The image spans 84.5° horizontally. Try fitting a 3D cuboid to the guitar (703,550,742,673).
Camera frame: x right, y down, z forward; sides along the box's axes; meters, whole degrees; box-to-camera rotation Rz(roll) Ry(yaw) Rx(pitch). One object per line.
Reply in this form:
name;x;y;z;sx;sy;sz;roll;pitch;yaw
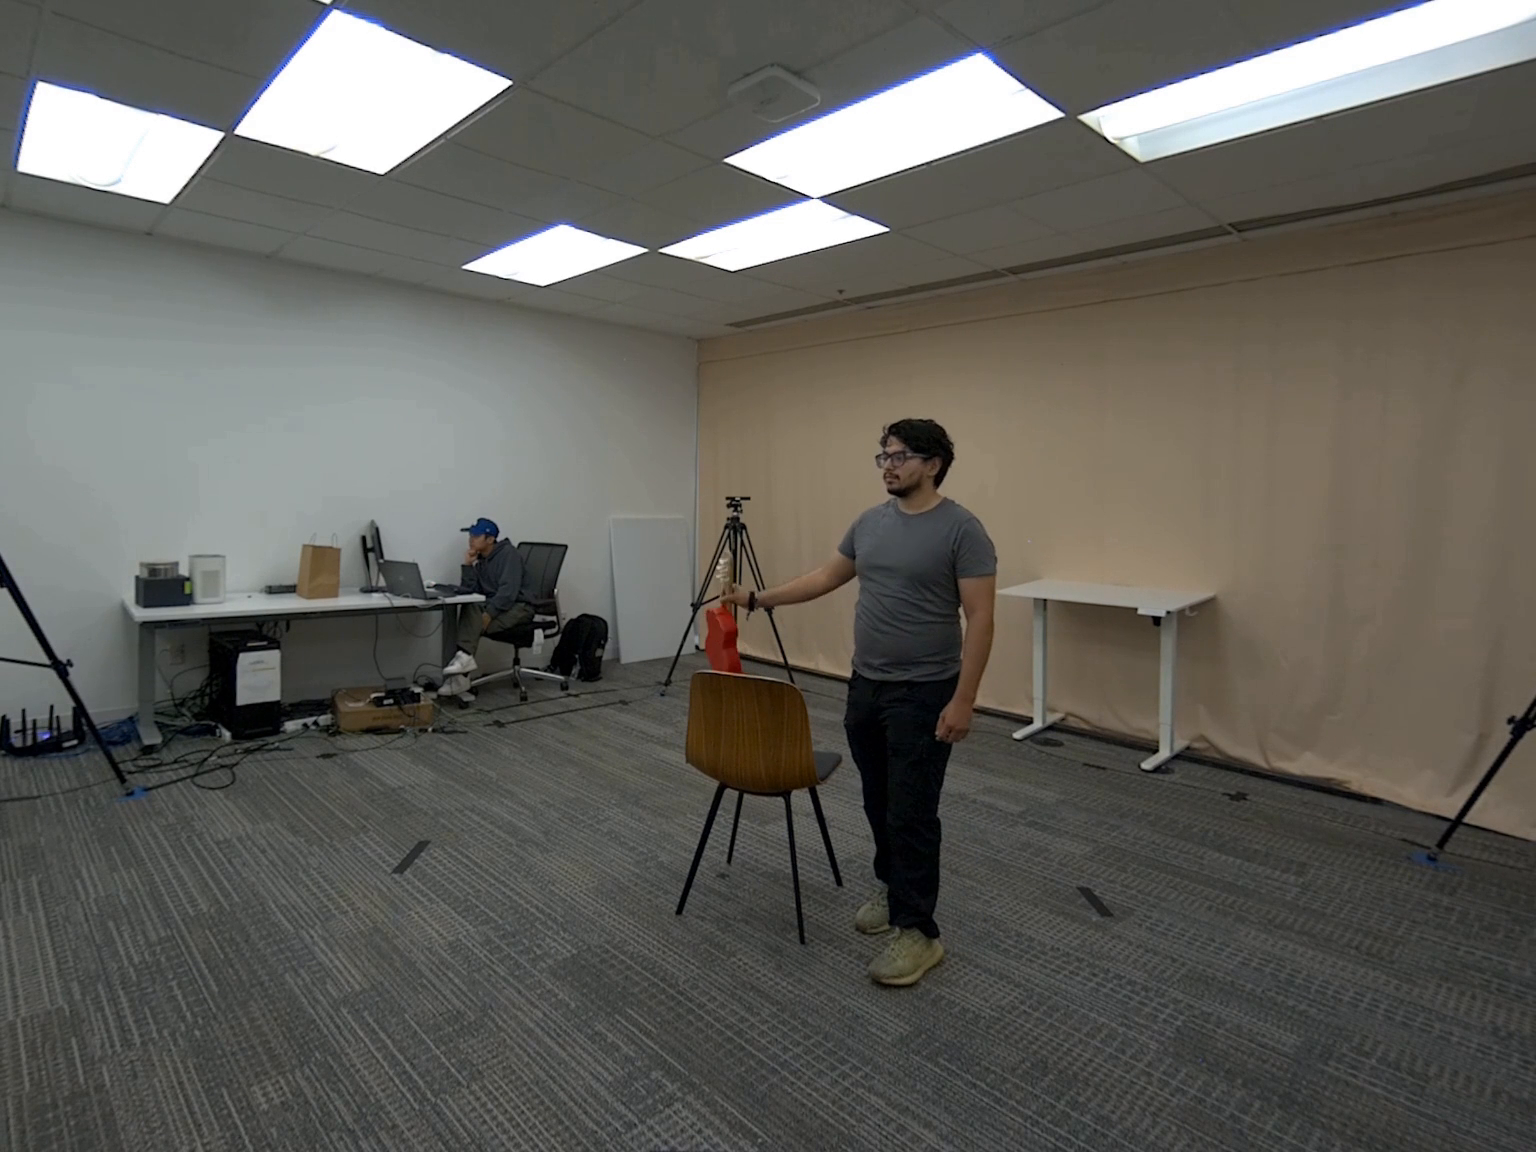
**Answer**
guitar;-0.172;0.114;2.936;0.070;0.490;0.198;-11;21;-23
